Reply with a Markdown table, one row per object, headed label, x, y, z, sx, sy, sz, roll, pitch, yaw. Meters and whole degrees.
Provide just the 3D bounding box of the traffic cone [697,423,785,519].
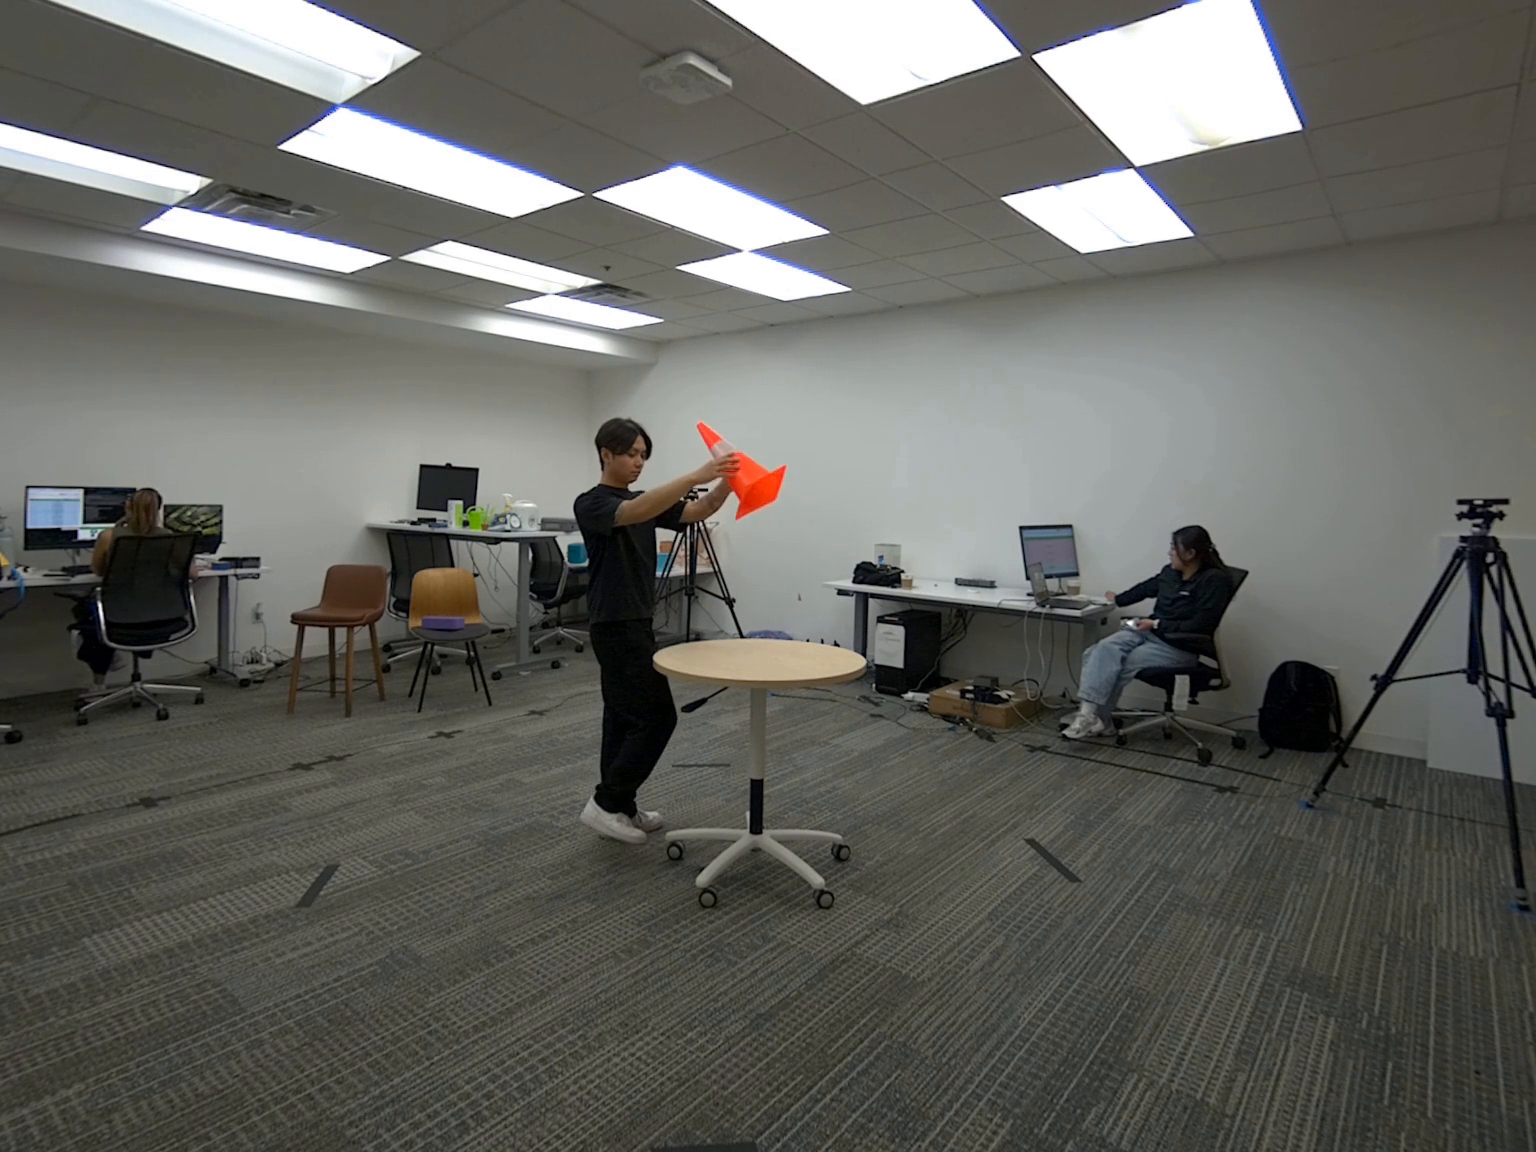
| label | x | y | z | sx | sy | sz | roll | pitch | yaw |
| --- | --- | --- | --- | --- | --- | --- | --- | --- | --- |
| traffic cone | -0.150 | -0.420 | 3.116 | 0.200 | 0.395 | 0.202 | -23 | -27 | -33 |
